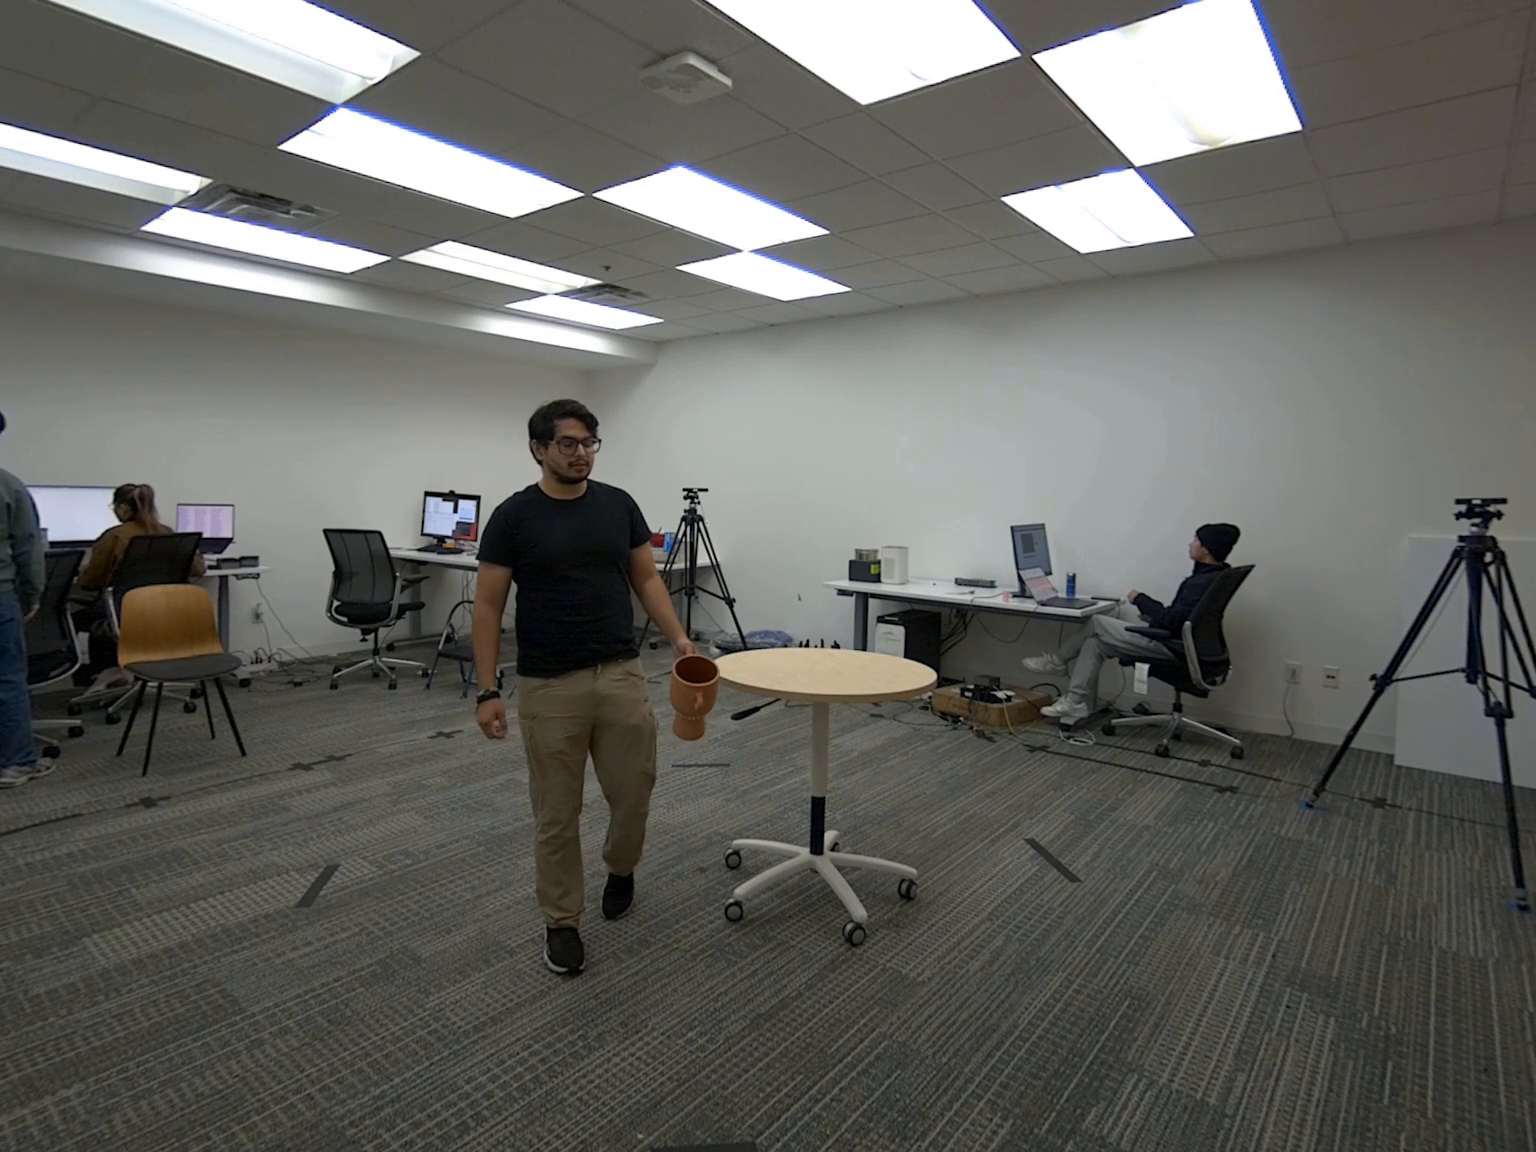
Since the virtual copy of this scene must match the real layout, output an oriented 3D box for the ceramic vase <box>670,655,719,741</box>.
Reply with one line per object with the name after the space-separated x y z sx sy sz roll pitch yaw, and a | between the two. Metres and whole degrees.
-0.222 0.352 2.382 0.138 0.215 0.158 20 32 19 | ceramic vase
